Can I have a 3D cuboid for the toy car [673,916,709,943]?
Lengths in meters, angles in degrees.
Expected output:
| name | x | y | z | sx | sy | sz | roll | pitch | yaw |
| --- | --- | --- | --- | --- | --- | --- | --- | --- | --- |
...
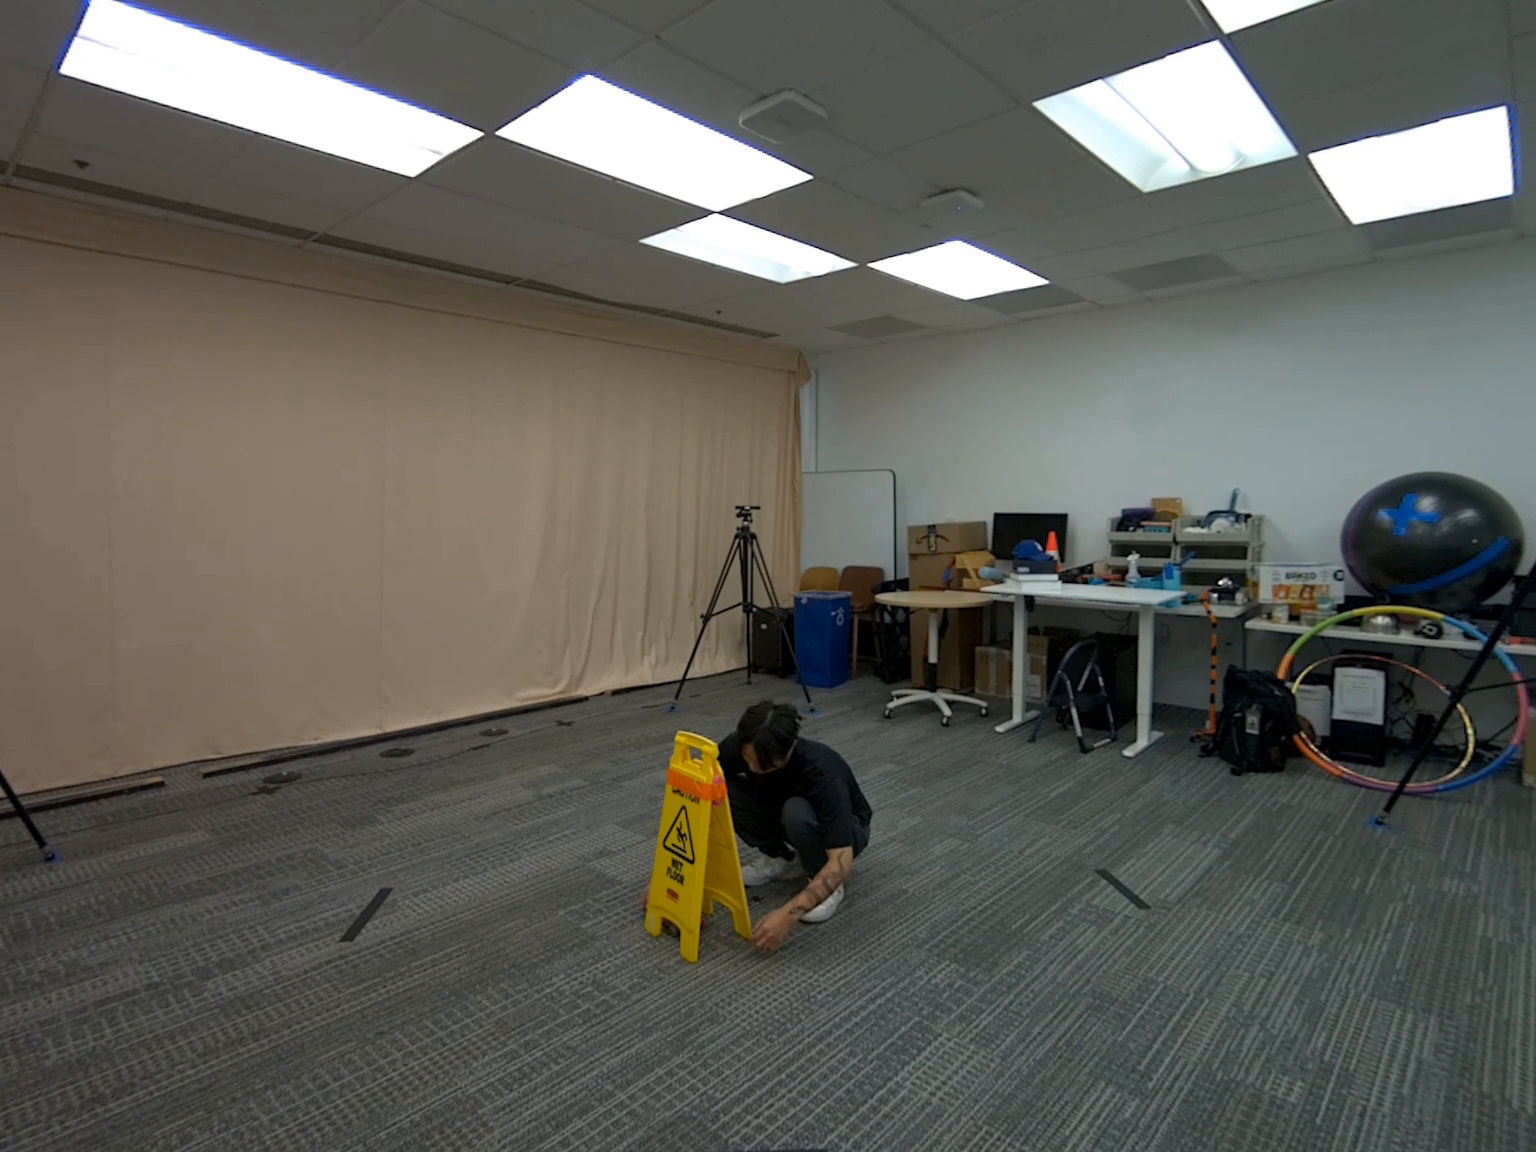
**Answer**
| name | x | y | z | sx | sy | sz | roll | pitch | yaw |
| --- | --- | --- | --- | --- | --- | --- | --- | --- | --- |
| toy car | -0.314 | 1.142 | 2.830 | 0.126 | 0.082 | 0.264 | -6 | 17 | -38 |
